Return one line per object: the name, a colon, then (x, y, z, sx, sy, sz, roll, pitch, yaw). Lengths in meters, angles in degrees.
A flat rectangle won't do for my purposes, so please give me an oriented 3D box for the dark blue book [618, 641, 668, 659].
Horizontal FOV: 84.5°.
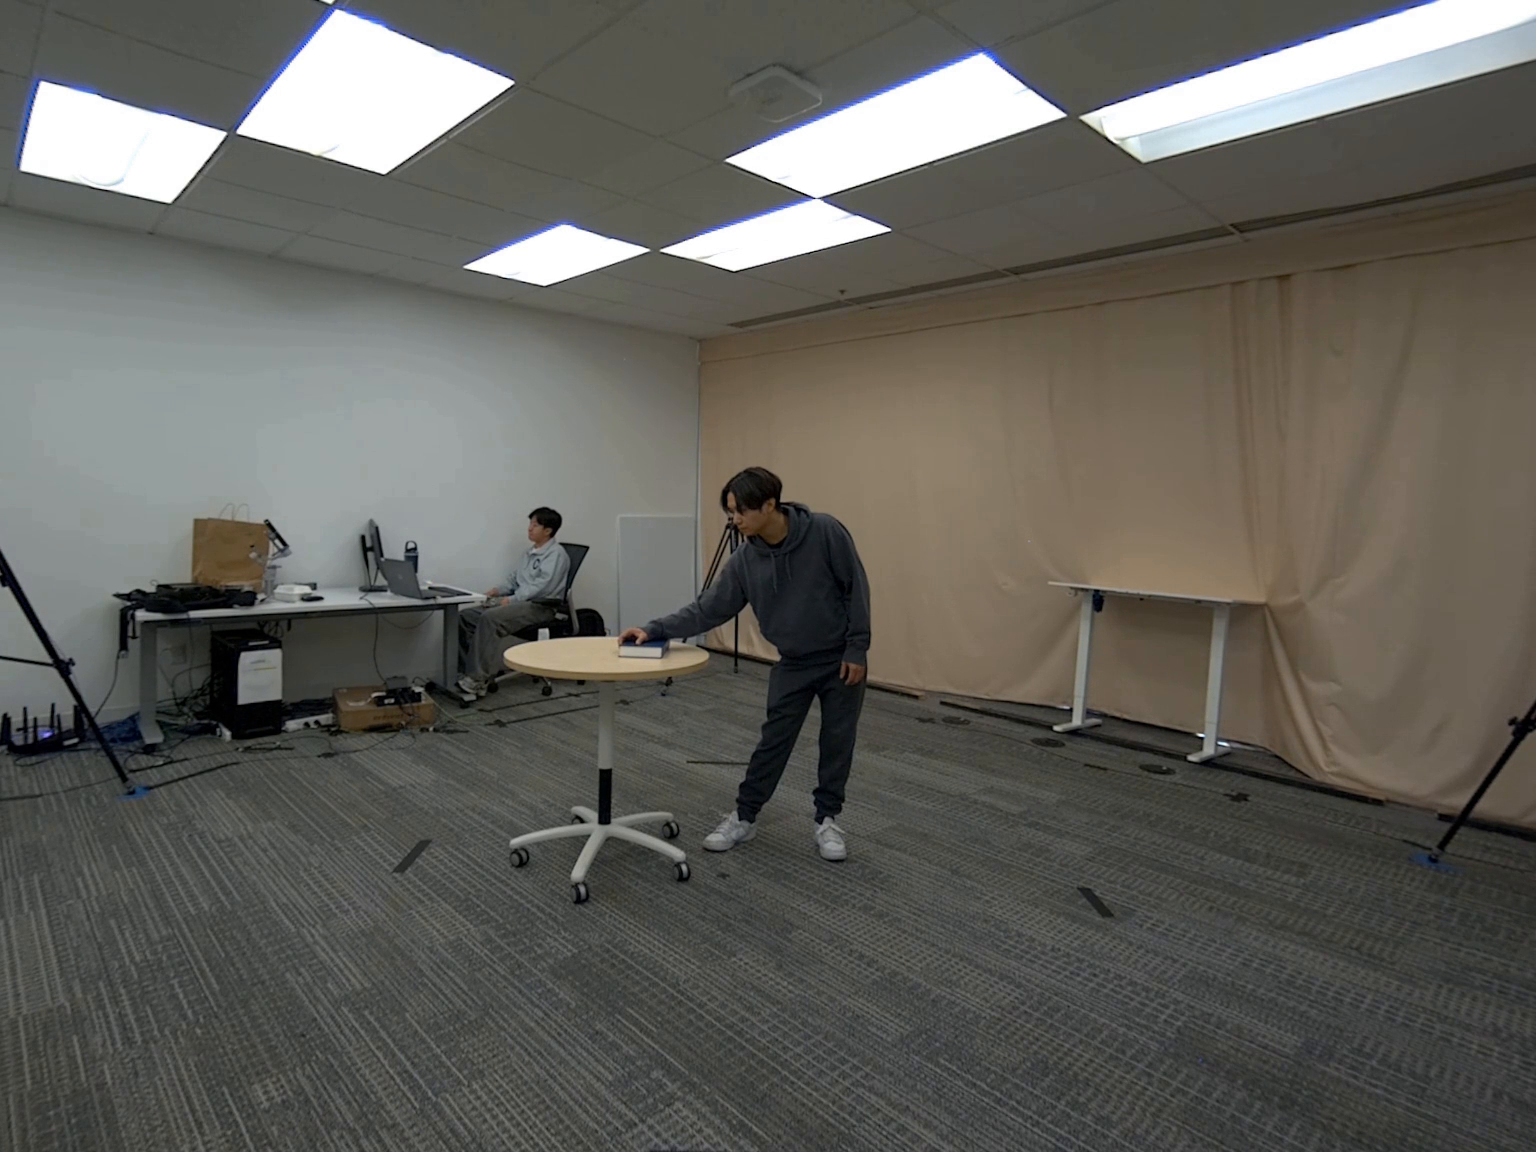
dark blue book: (-0.480, 0.271, 3.210, 0.163, 0.045, 0.245, 3, 3, -1)
